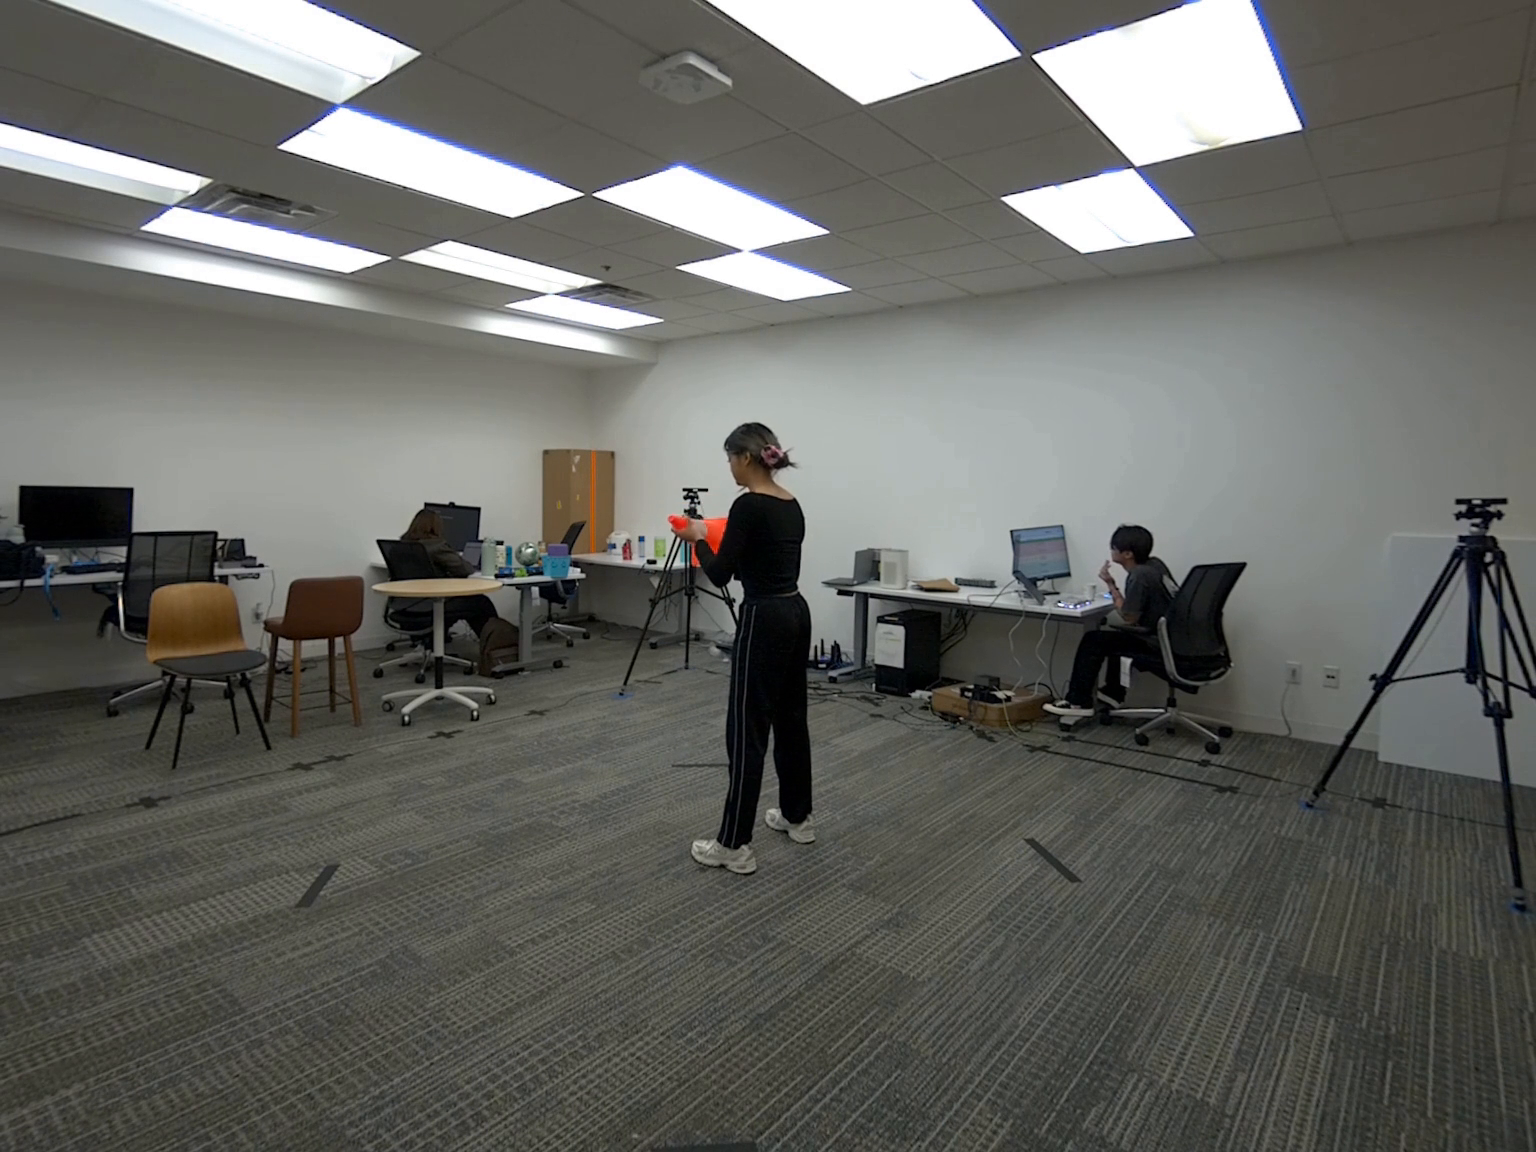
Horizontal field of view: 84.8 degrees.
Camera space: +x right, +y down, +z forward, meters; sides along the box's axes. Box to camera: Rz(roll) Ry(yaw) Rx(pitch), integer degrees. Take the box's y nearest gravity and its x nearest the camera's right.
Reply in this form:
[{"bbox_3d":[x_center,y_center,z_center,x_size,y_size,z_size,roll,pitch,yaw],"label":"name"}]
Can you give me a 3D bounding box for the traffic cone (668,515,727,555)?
[{"bbox_3d":[-0.322,-0.176,3.410,0.208,0.207,0.371,-4,-13,23],"label":"traffic cone"}]
